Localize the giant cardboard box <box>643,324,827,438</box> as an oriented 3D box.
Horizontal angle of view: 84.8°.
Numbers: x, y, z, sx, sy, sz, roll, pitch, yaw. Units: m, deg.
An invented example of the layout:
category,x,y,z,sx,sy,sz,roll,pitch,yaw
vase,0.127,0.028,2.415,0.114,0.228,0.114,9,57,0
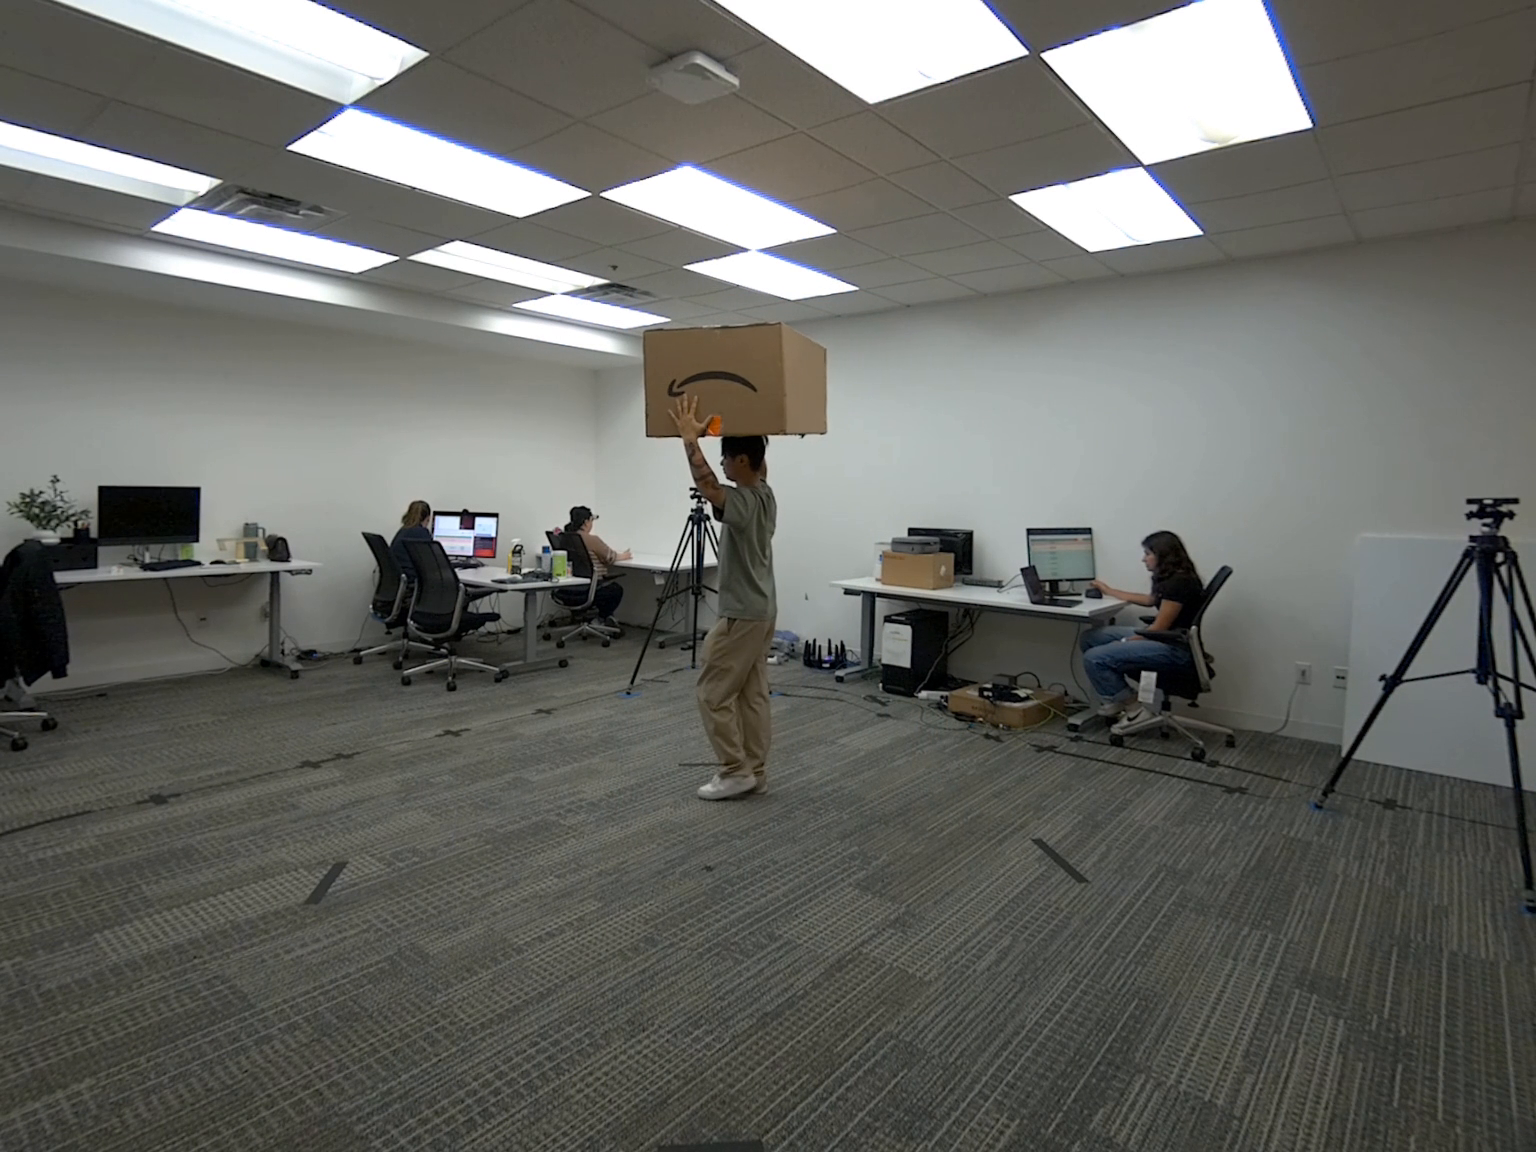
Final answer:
category,x,y,z,sx,sy,sz,roll,pitch,yaw
giant cardboard box,-0.113,-0.844,3.801,0.588,0.423,1.016,2,9,15
